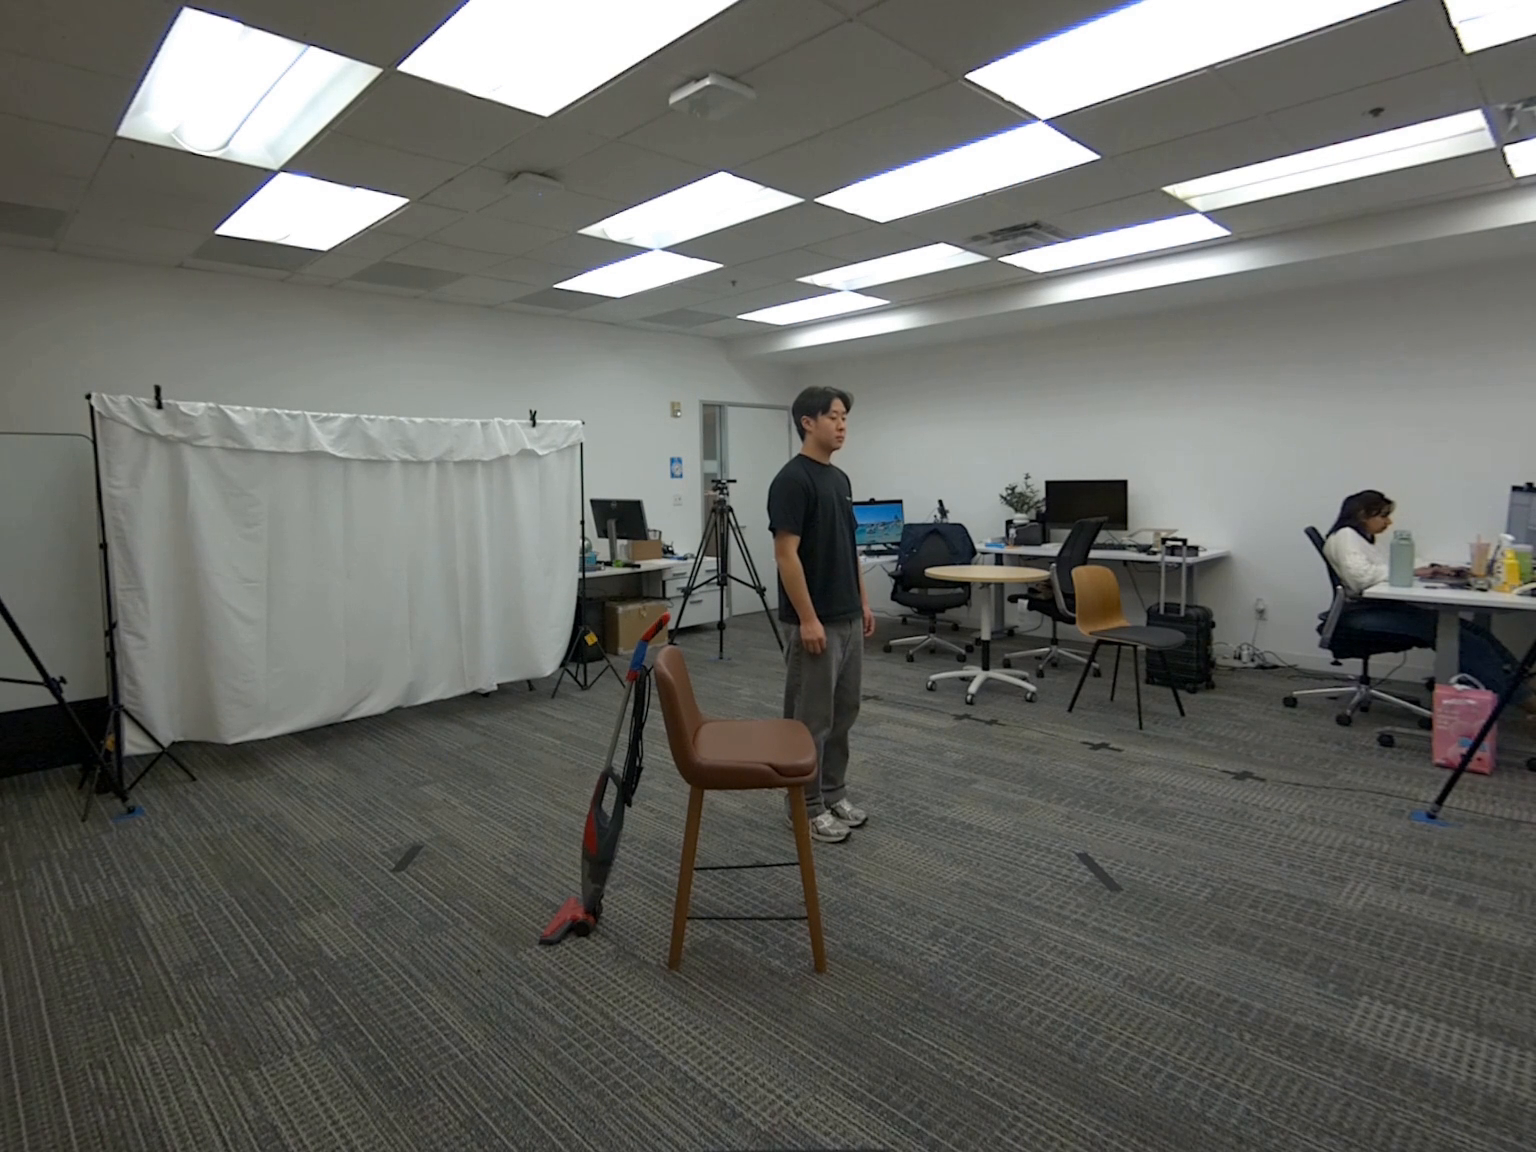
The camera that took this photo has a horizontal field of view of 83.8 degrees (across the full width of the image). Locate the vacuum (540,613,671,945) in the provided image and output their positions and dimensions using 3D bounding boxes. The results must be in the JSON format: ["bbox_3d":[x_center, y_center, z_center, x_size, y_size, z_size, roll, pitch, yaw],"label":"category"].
[{"bbox_3d":[-0.462,0.609,2.628,0.144,1.044,0.253,17,9,1],"label":"vacuum"}]
